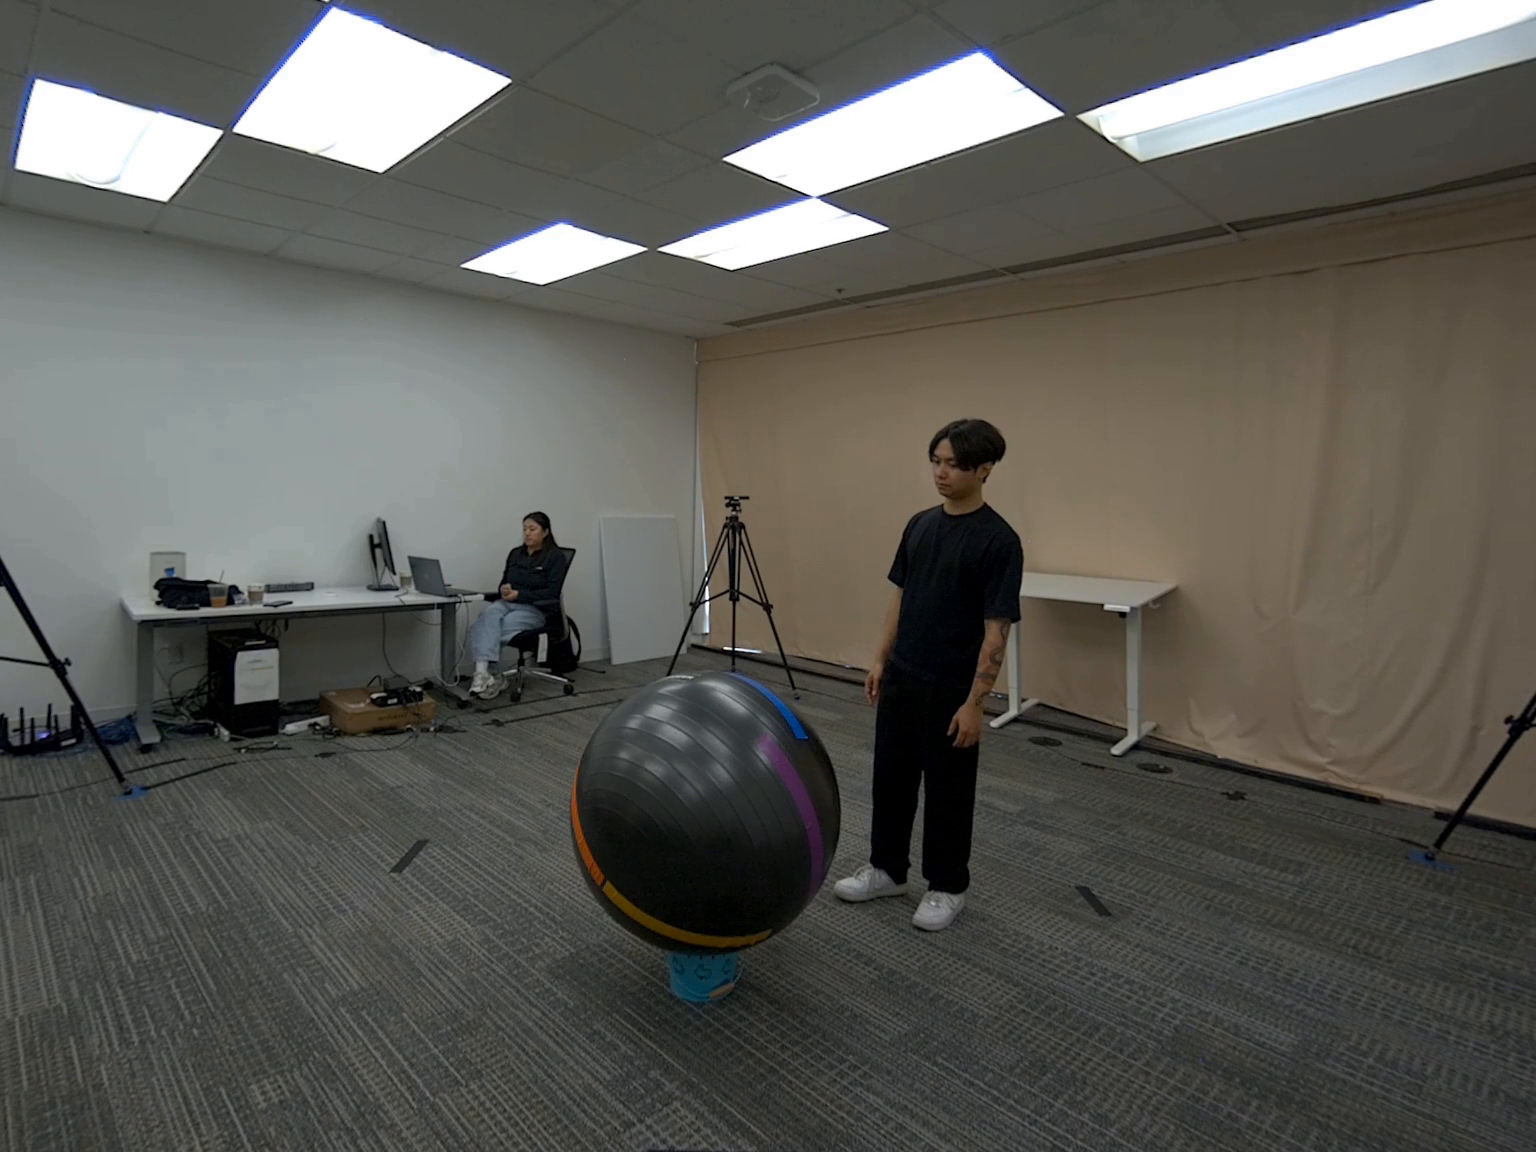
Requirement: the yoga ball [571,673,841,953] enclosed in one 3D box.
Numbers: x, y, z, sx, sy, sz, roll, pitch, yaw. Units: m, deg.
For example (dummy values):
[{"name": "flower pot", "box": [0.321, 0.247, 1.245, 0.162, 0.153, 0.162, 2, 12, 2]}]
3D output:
[{"name": "yoga ball", "box": [-0.185, 0.658, 2.381, 0.757, 0.756, 0.761, 1, 4, -1]}]
